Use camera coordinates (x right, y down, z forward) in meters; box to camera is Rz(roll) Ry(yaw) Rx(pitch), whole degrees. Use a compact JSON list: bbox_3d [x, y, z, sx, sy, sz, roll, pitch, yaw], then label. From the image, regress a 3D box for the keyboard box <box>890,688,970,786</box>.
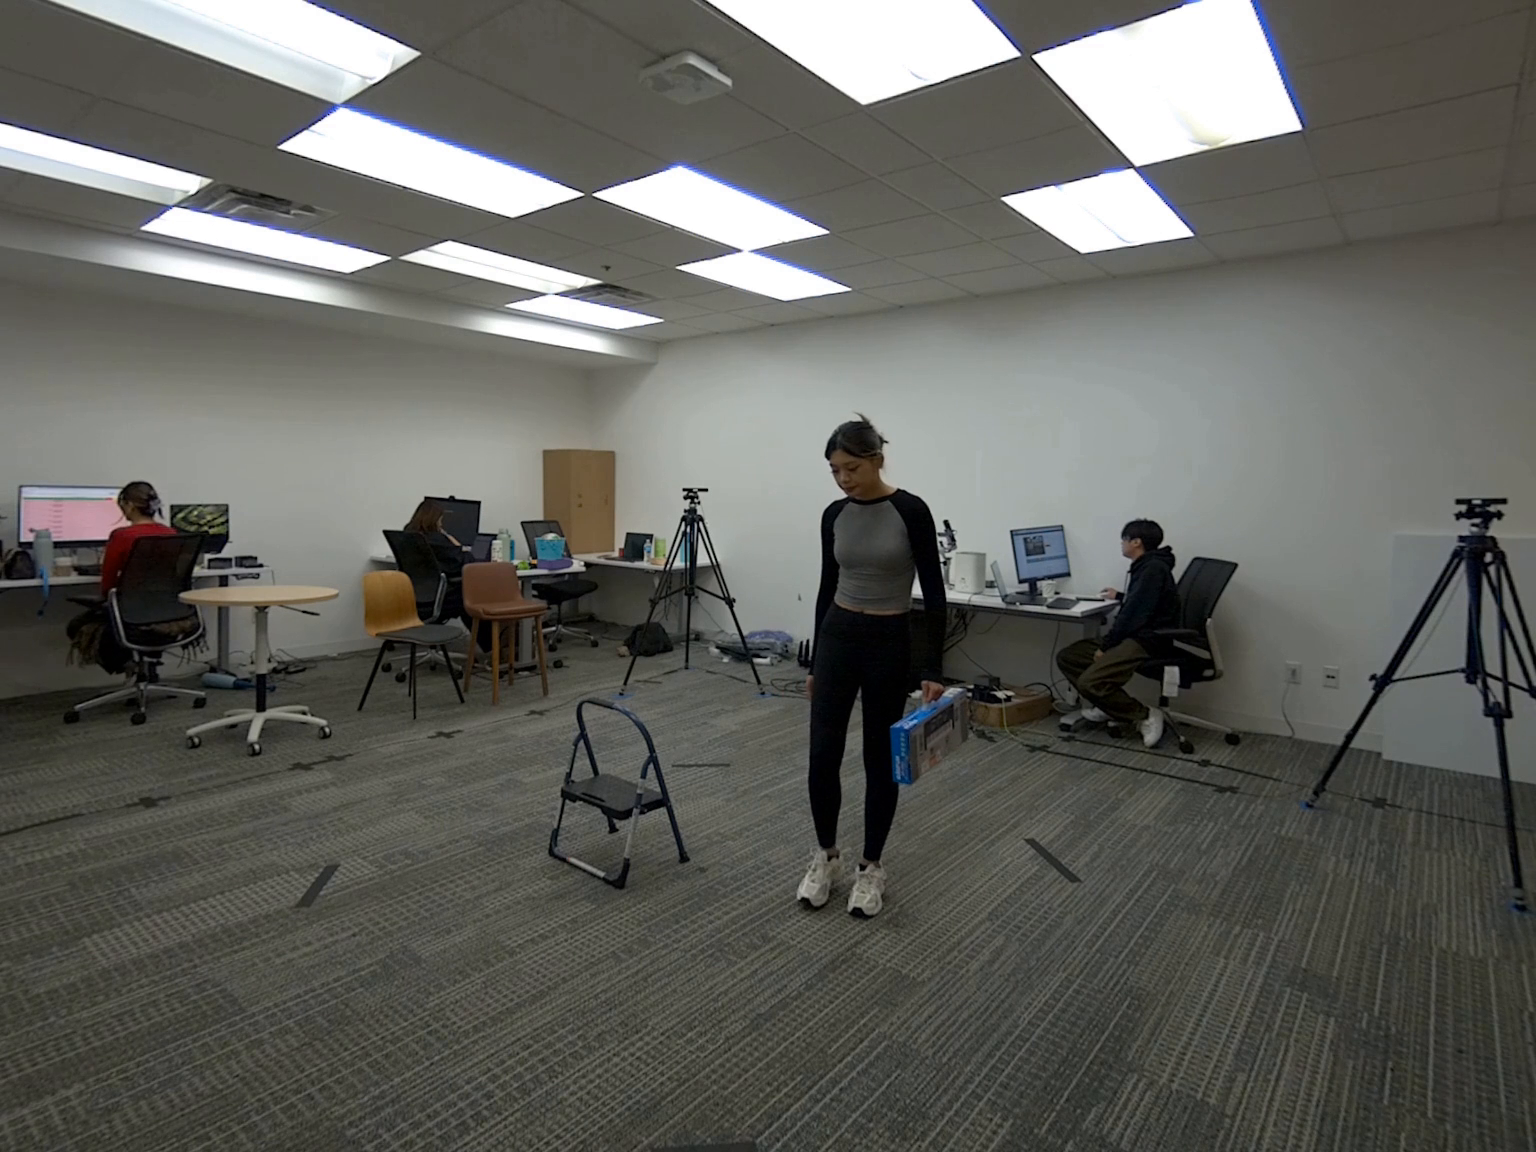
[{"bbox_3d":[0.508,0.493,2.680,0.061,0.175,0.427,0,9,36],"label":"keyboard box"}]
